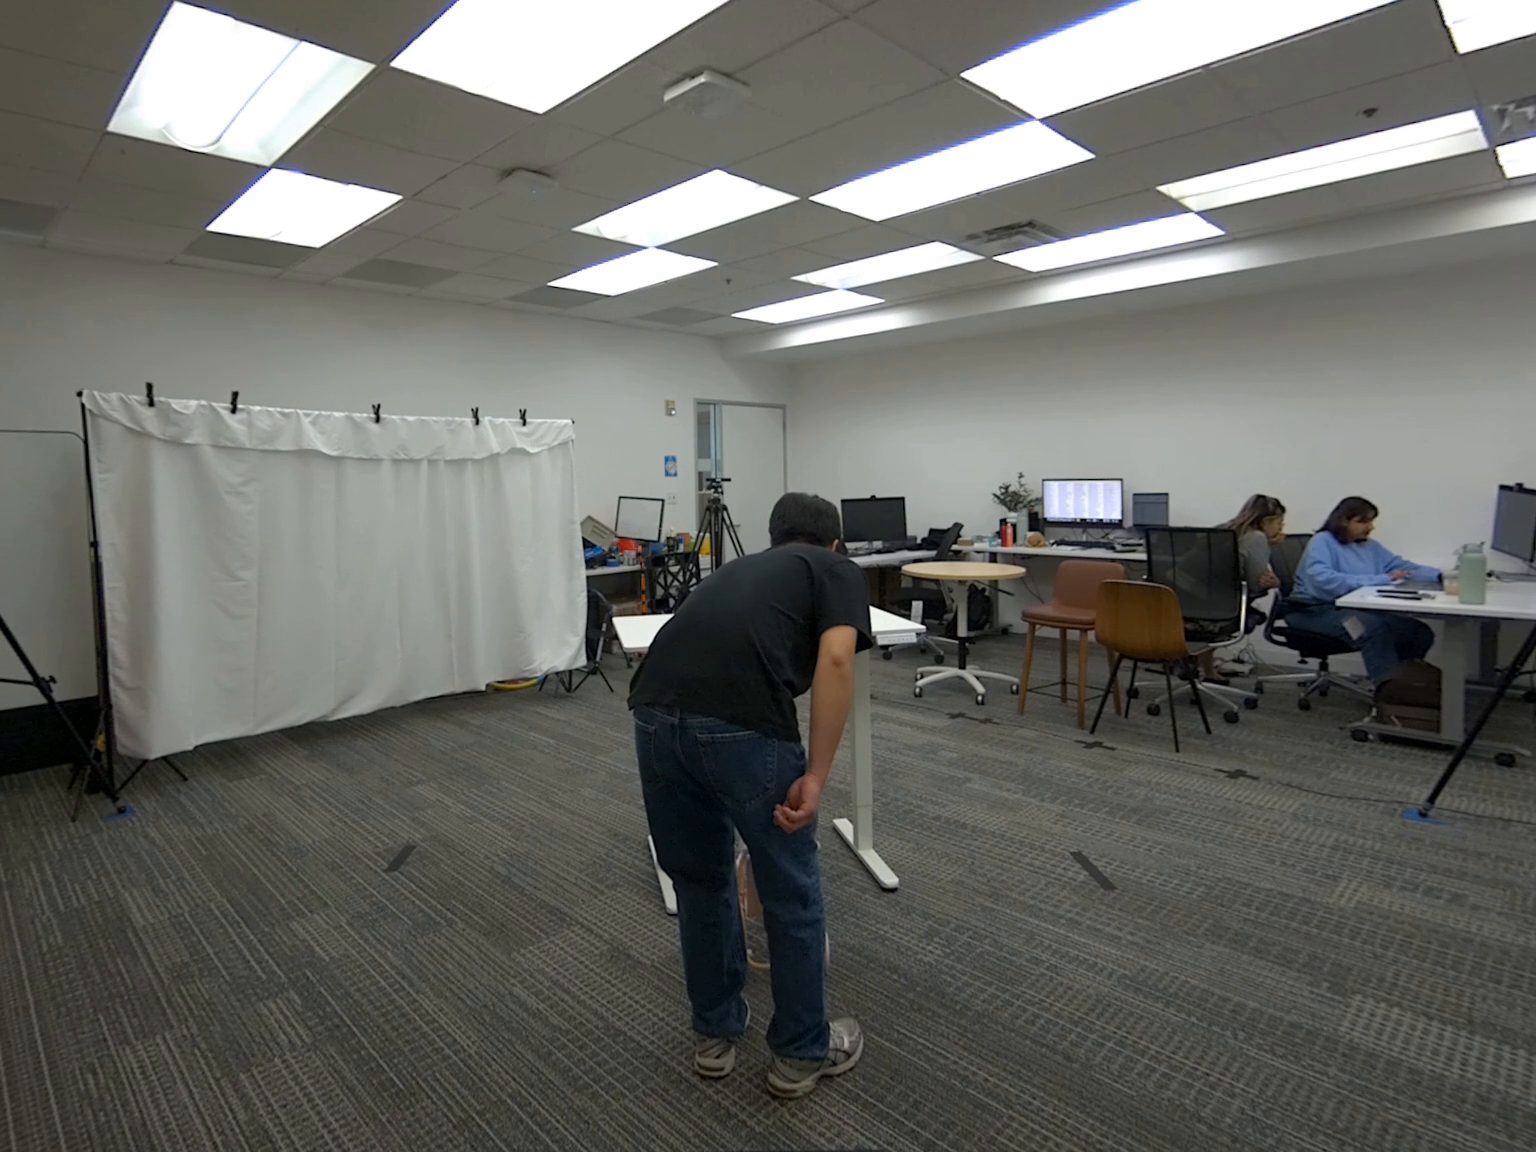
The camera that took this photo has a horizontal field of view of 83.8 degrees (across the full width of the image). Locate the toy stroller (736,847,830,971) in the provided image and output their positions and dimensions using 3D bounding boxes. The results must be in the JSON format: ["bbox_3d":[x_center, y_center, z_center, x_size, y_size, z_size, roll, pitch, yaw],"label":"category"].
[{"bbox_3d":[0.032,0.890,2.477,0.281,0.526,0.347,-1,19,-1],"label":"toy stroller"}]
